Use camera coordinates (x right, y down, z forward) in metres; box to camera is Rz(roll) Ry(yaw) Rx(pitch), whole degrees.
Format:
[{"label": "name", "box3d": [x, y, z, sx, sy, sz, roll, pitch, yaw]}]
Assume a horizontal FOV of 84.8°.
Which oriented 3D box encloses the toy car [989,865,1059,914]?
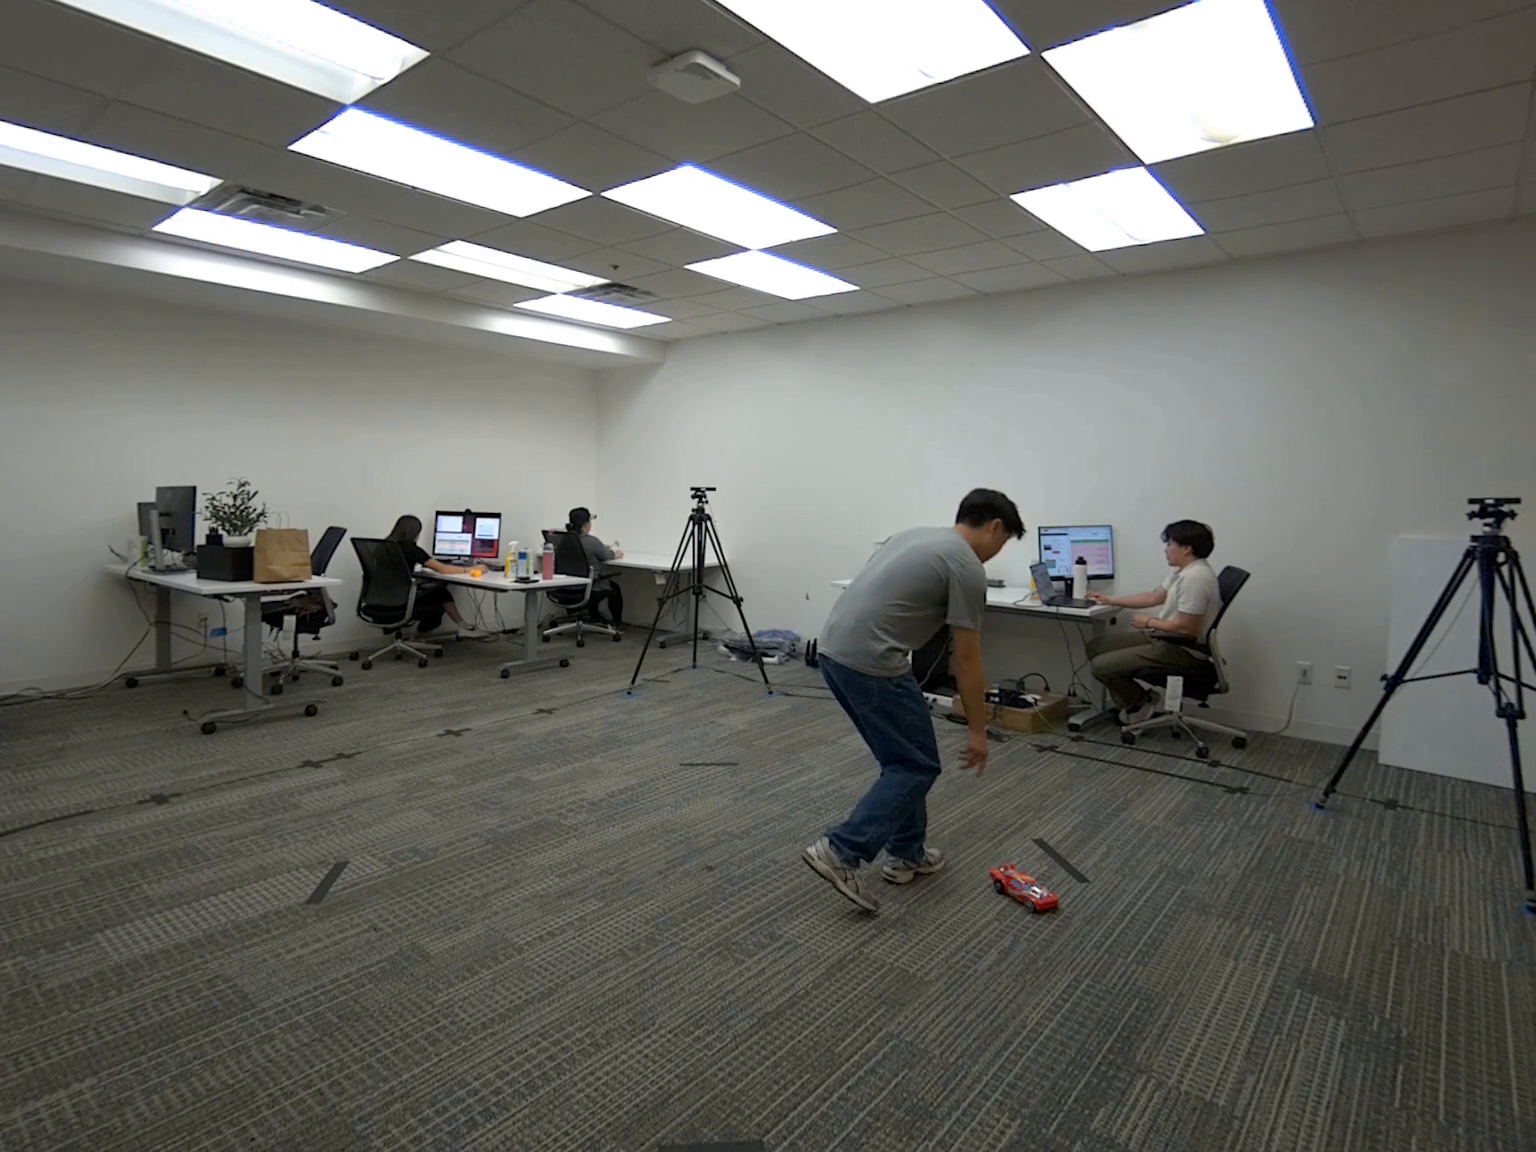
[{"label": "toy car", "box3d": [0.876, 1.083, 2.942, 0.127, 0.082, 0.264, -1, 17, -25]}]
